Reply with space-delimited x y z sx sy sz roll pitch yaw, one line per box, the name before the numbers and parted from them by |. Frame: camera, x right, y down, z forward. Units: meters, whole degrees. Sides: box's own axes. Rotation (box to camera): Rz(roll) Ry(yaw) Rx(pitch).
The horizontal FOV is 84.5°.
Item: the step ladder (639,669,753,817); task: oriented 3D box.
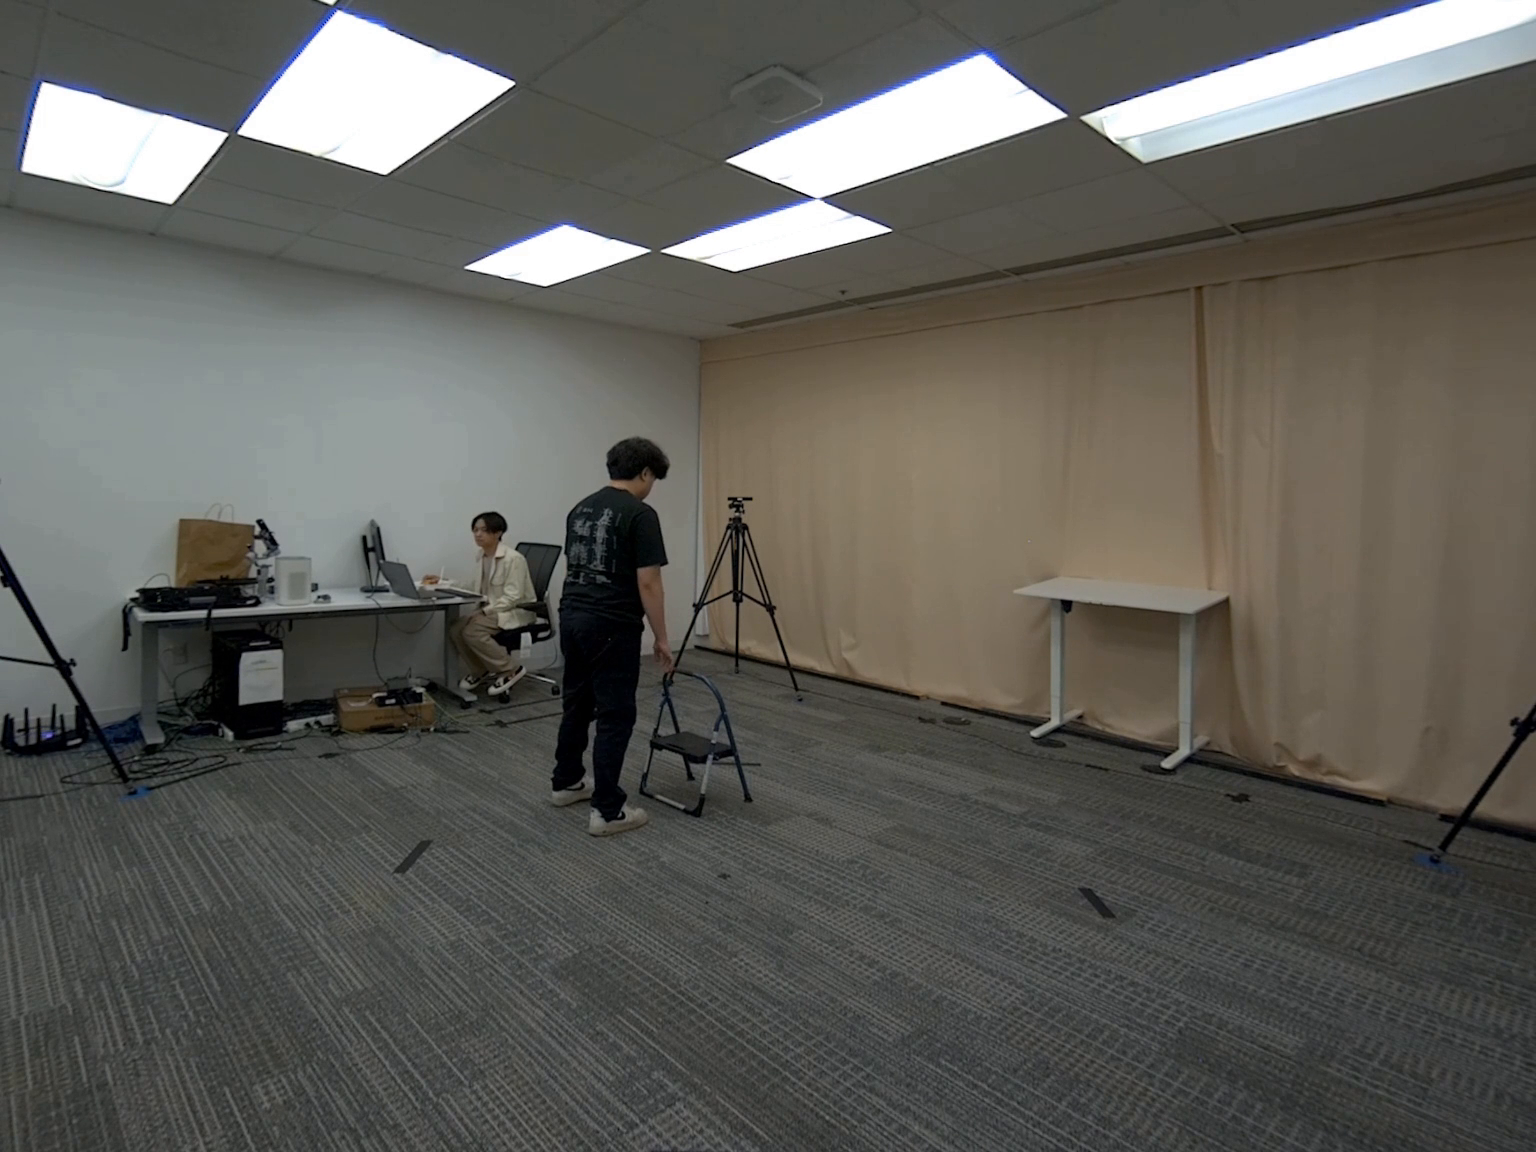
step ladder | -0.341 0.731 3.918 0.441 0.605 0.341 4 3 43
